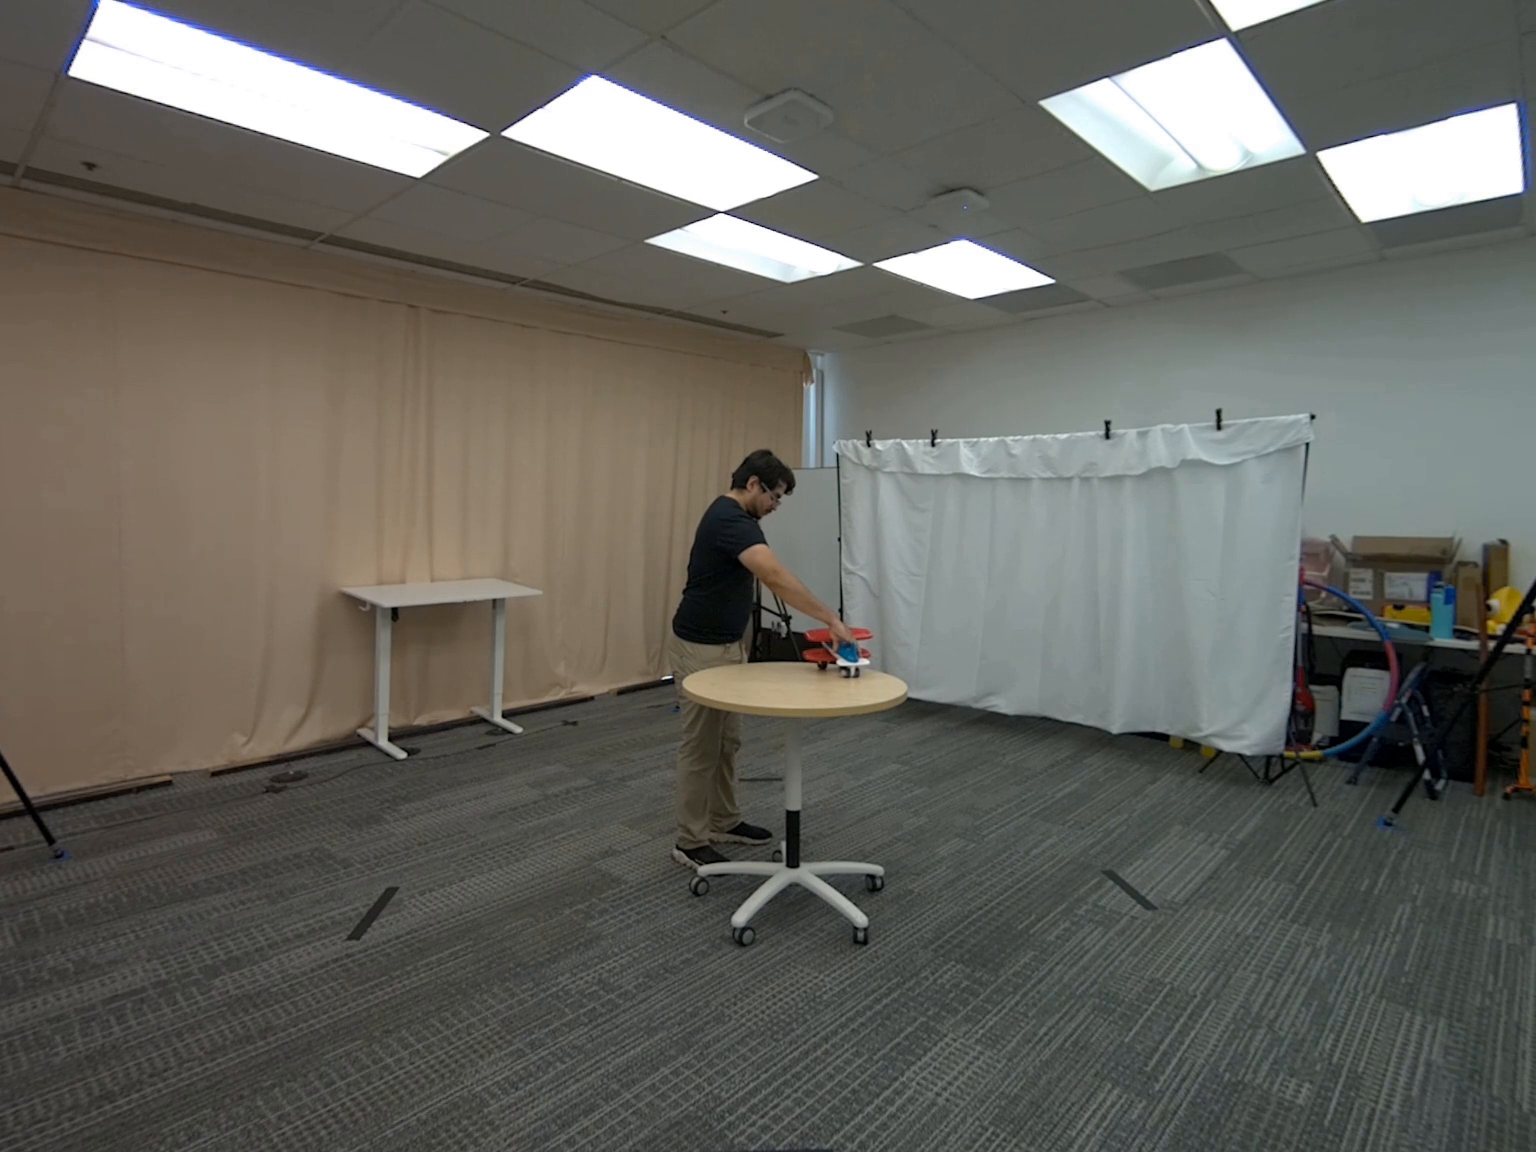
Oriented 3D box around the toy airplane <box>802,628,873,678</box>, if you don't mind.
[{"bbox_3d":[0.285,0.277,3.069,0.243,0.156,0.268,-2,4,-41],"label":"toy airplane"}]
